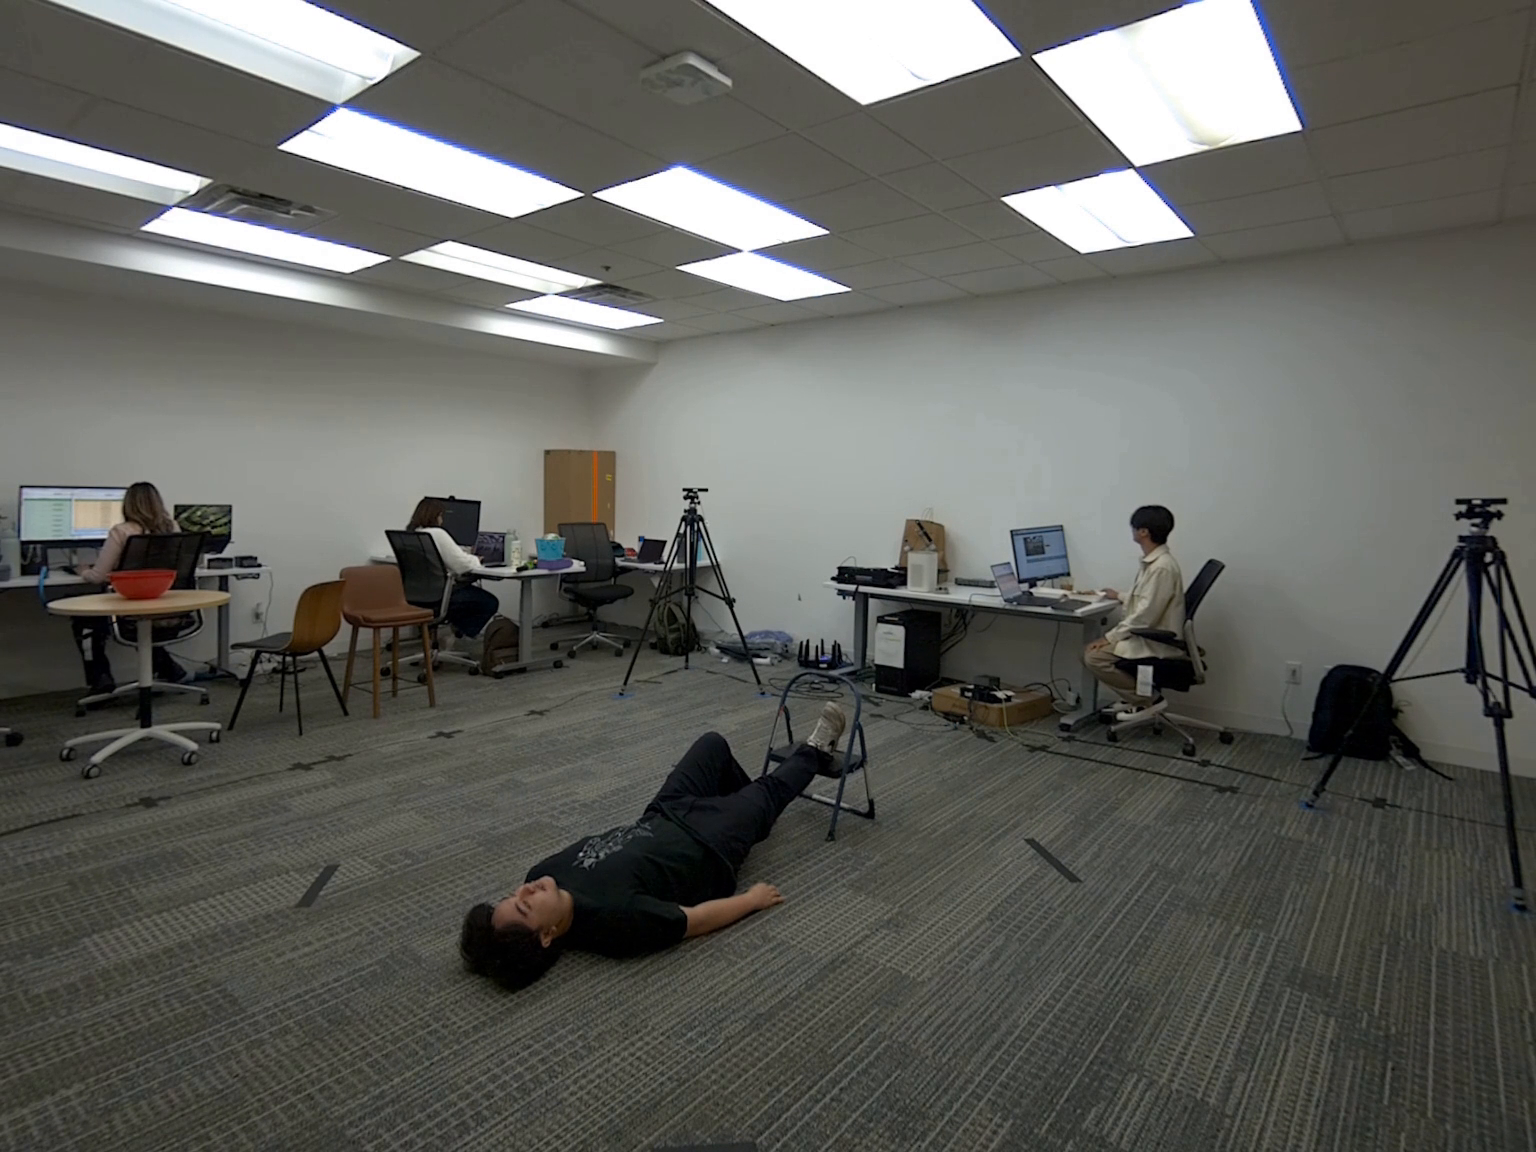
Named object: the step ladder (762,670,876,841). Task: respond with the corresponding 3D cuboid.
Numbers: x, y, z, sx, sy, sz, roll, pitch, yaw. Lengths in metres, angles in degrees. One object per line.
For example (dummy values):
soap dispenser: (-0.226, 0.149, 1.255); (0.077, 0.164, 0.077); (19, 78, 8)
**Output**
step ladder: (0.196, 0.728, 3.639); (0.445, 0.604, 0.339); (5, 5, 40)
